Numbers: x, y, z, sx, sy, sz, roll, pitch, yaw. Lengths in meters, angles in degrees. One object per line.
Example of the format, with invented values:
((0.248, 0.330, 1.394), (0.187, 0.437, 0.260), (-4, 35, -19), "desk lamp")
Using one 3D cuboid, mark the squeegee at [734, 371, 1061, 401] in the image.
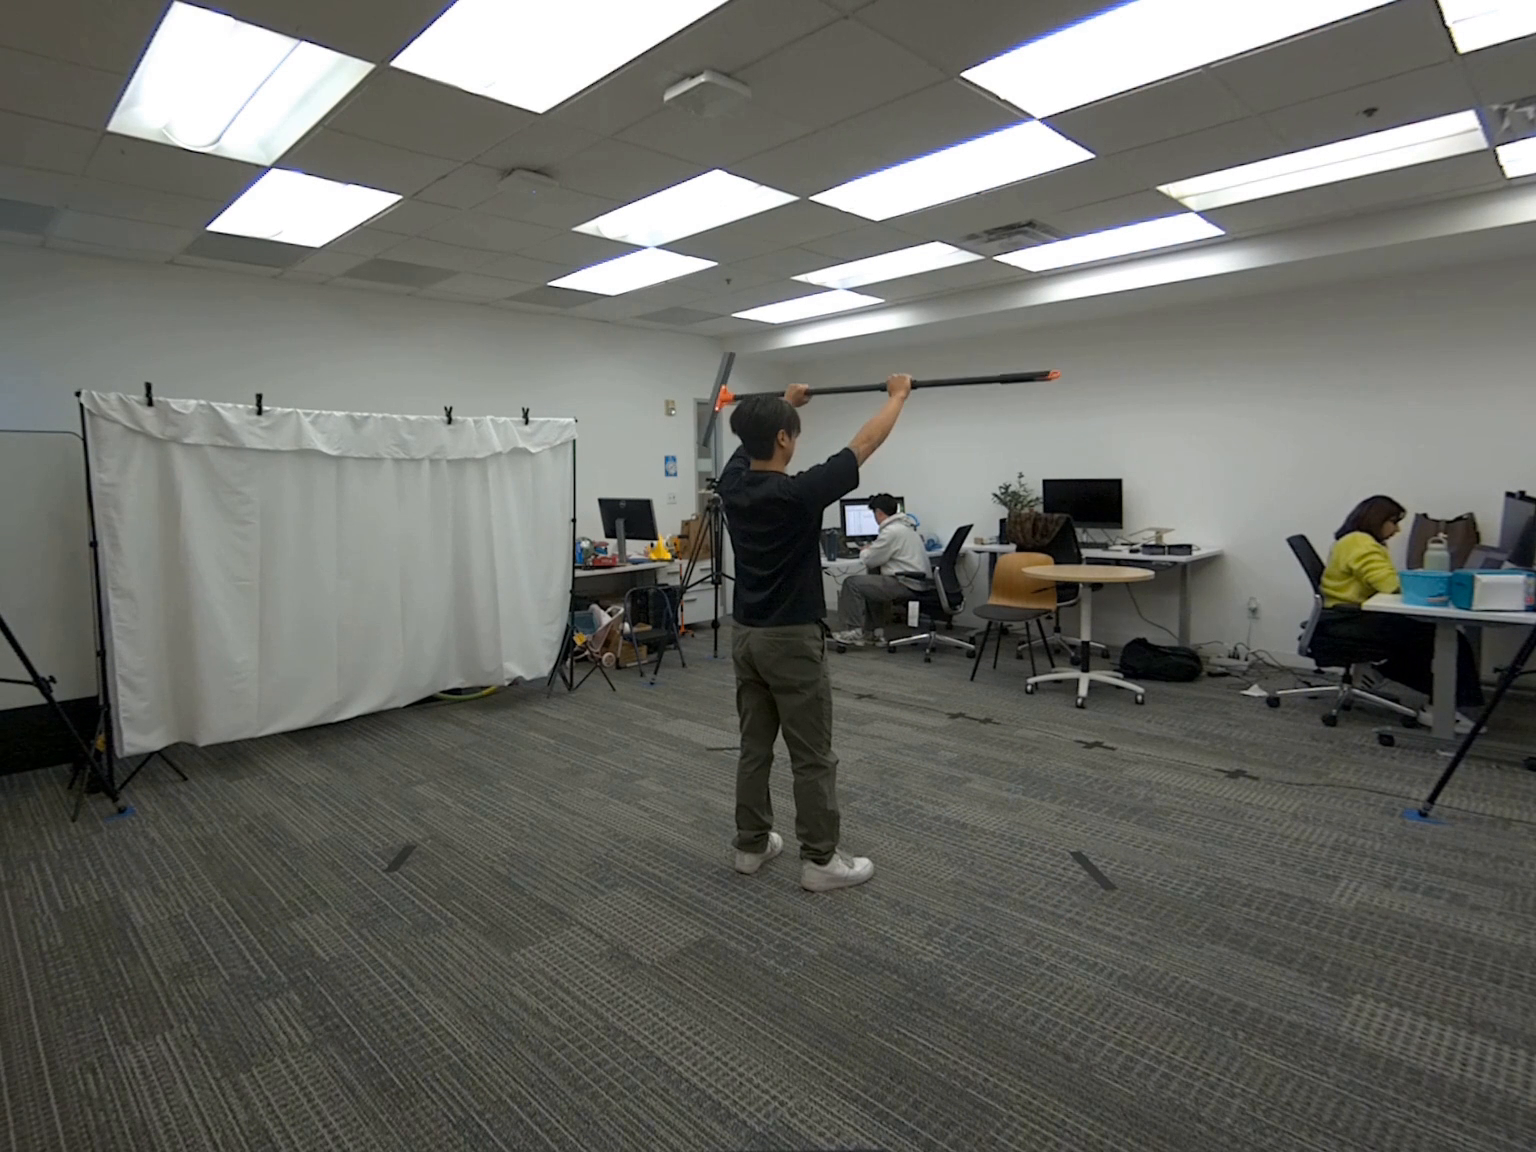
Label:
((0.319, -0.670, 3.132), (1.588, 0.440, 0.051), (8, -14, 46), "squeegee")
